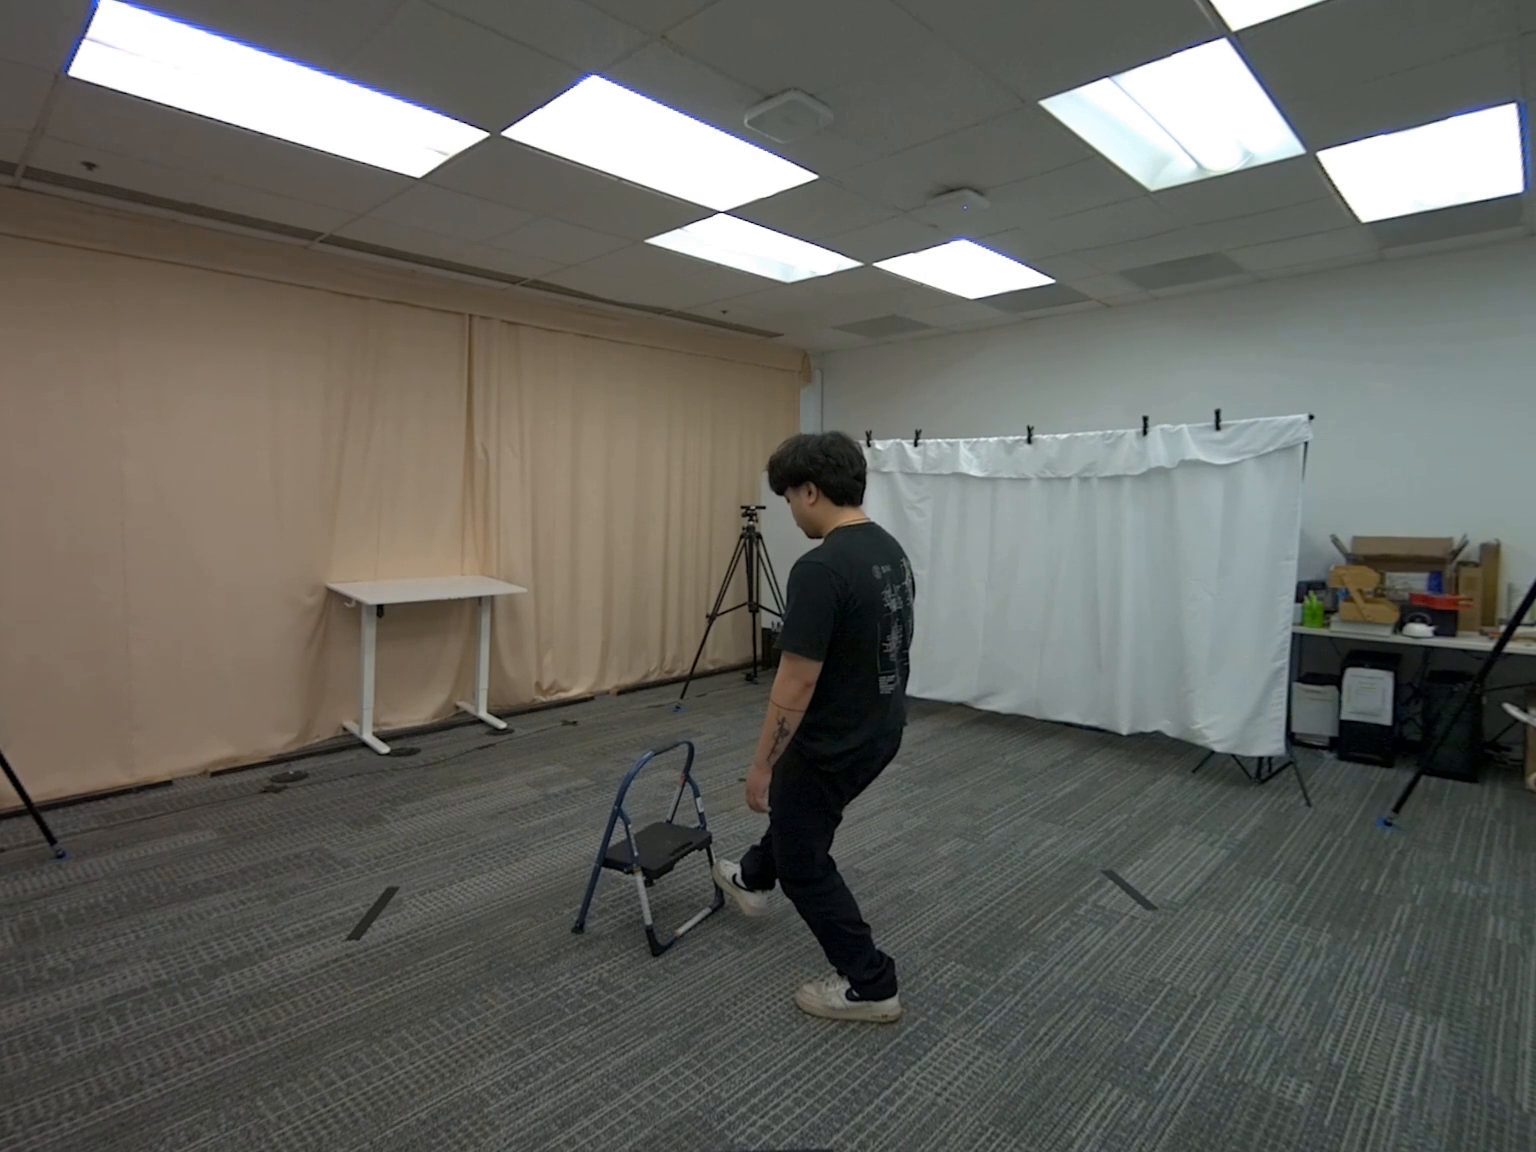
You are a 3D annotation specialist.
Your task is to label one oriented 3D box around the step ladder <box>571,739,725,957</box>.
[{"bbox_3d":[-0.394,0.853,2.837,0.359,0.605,0.419,1,4,29],"label":"step ladder"}]
